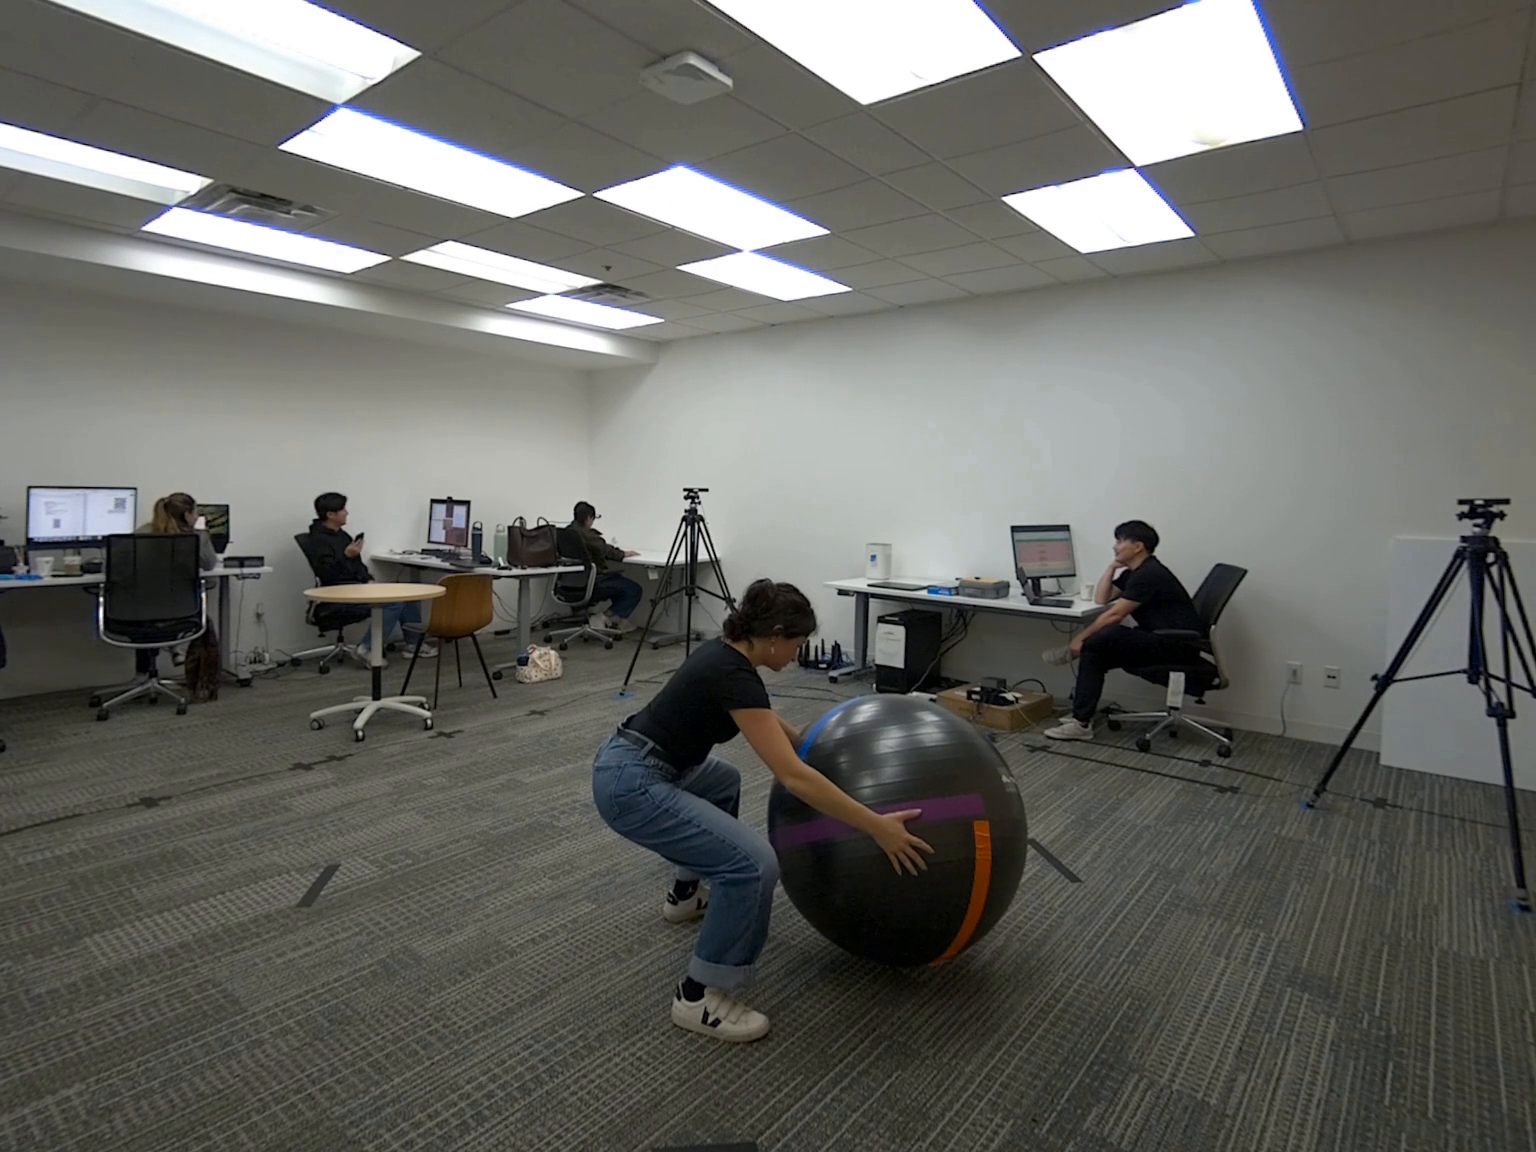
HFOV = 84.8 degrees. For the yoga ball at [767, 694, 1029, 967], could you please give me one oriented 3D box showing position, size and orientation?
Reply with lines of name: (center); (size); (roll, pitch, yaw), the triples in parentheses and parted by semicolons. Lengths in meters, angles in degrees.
yoga ball: (0.378, 0.749, 2.531); (0.757, 0.756, 0.762); (1, 4, -2)
